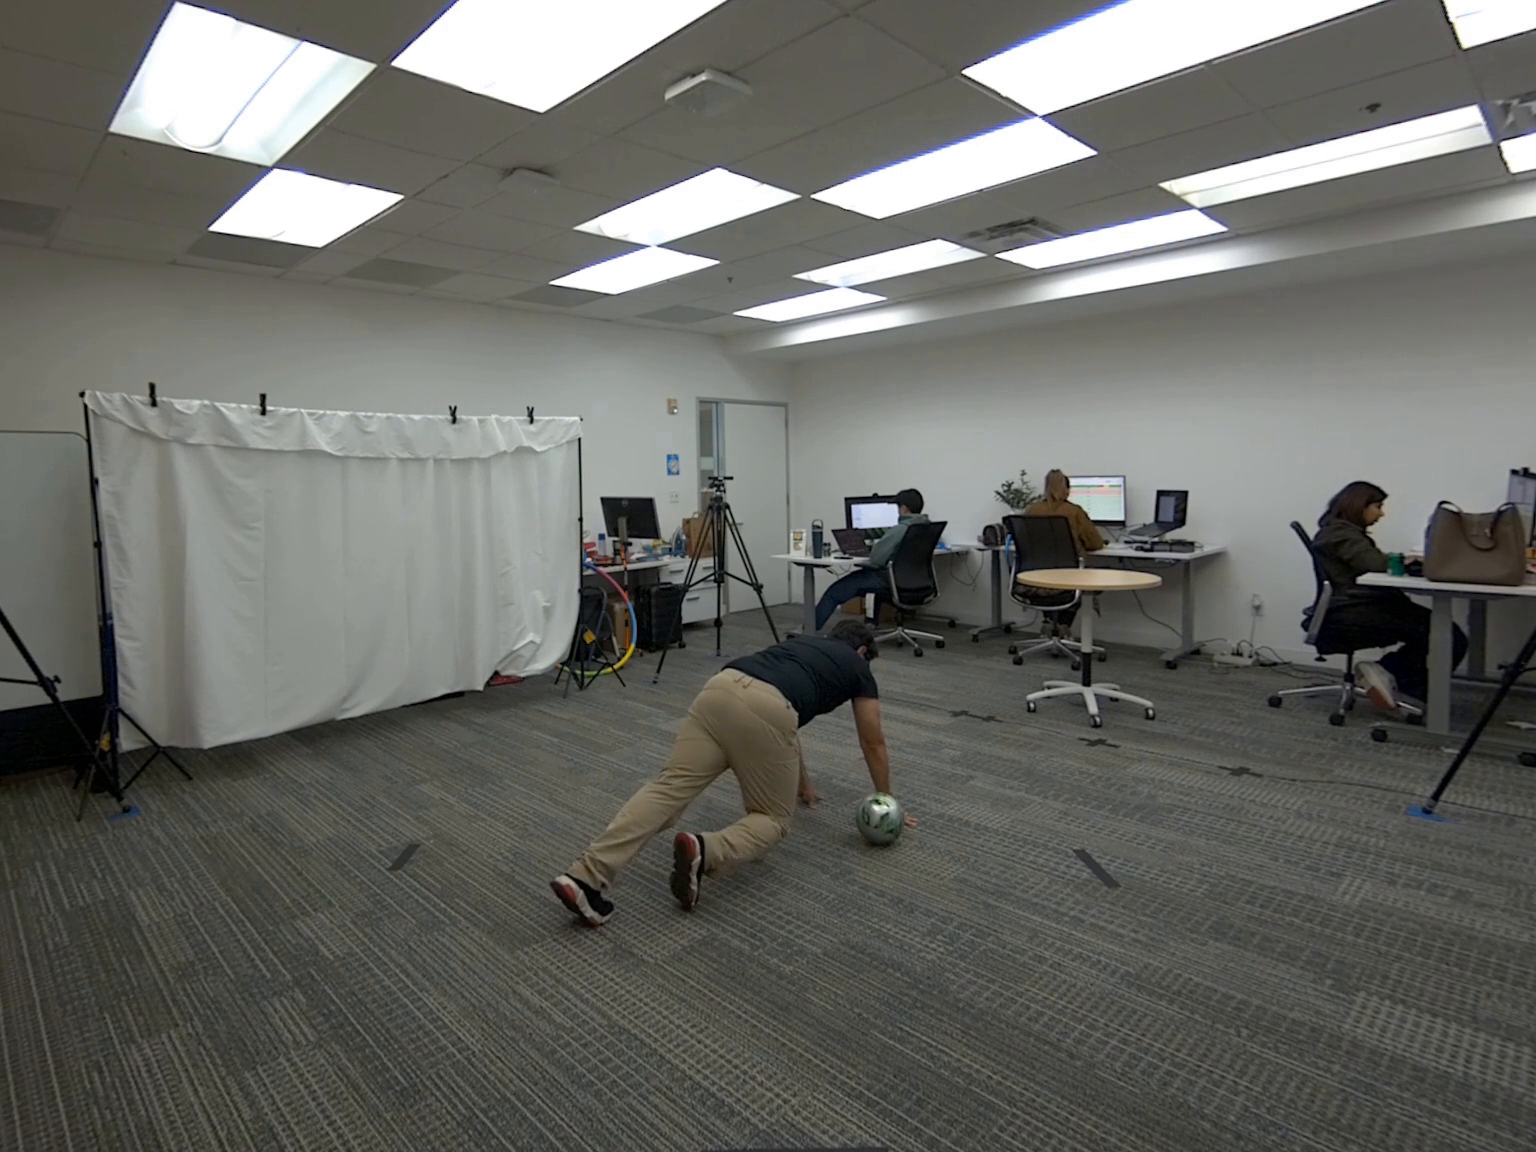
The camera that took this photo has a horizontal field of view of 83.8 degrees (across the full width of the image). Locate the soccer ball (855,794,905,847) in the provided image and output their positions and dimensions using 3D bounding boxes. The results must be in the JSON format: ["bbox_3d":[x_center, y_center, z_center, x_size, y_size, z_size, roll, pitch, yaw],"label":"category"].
[{"bbox_3d":[0.424,0.921,3.236,0.187,0.187,0.188,-1,5,-2],"label":"soccer ball"}]
